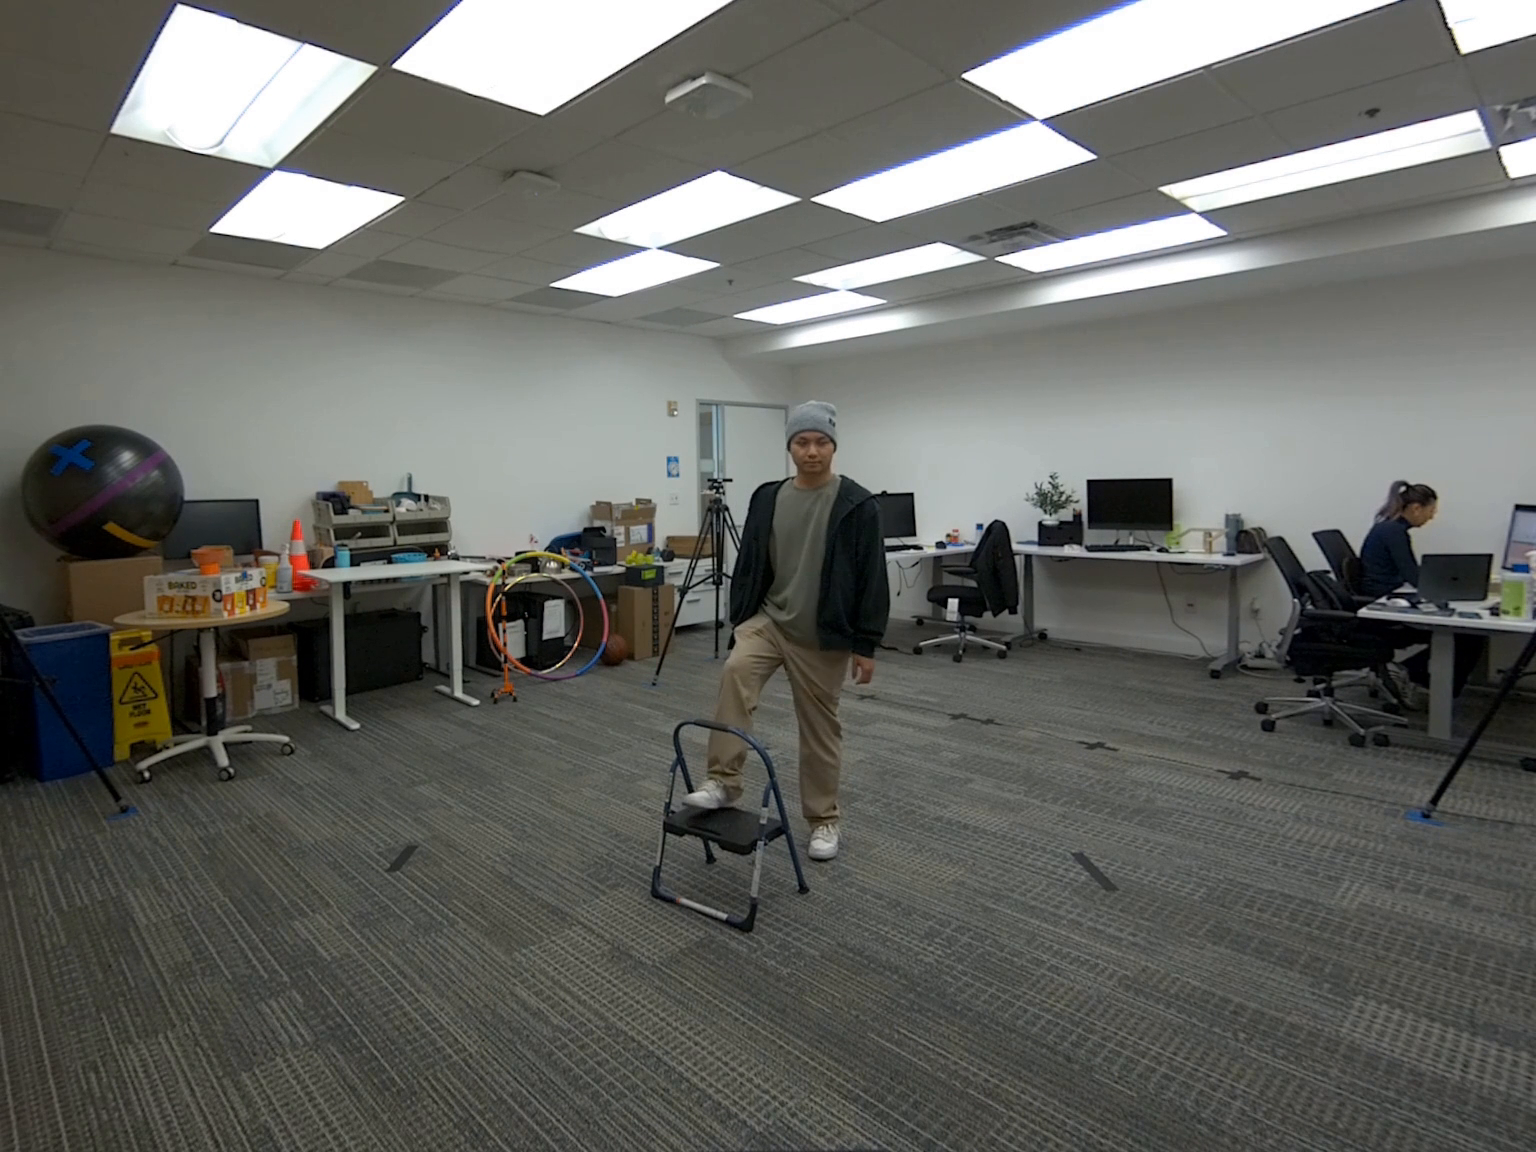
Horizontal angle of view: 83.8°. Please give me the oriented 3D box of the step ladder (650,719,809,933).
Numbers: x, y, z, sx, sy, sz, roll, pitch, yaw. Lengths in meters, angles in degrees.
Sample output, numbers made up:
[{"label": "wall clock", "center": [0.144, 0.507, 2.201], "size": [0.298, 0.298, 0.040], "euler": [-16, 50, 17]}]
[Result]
[{"label": "step ladder", "center": [-0.135, 0.771, 2.863], "size": [0.443, 0.604, 0.341], "euler": [2, 6, 35]}]
